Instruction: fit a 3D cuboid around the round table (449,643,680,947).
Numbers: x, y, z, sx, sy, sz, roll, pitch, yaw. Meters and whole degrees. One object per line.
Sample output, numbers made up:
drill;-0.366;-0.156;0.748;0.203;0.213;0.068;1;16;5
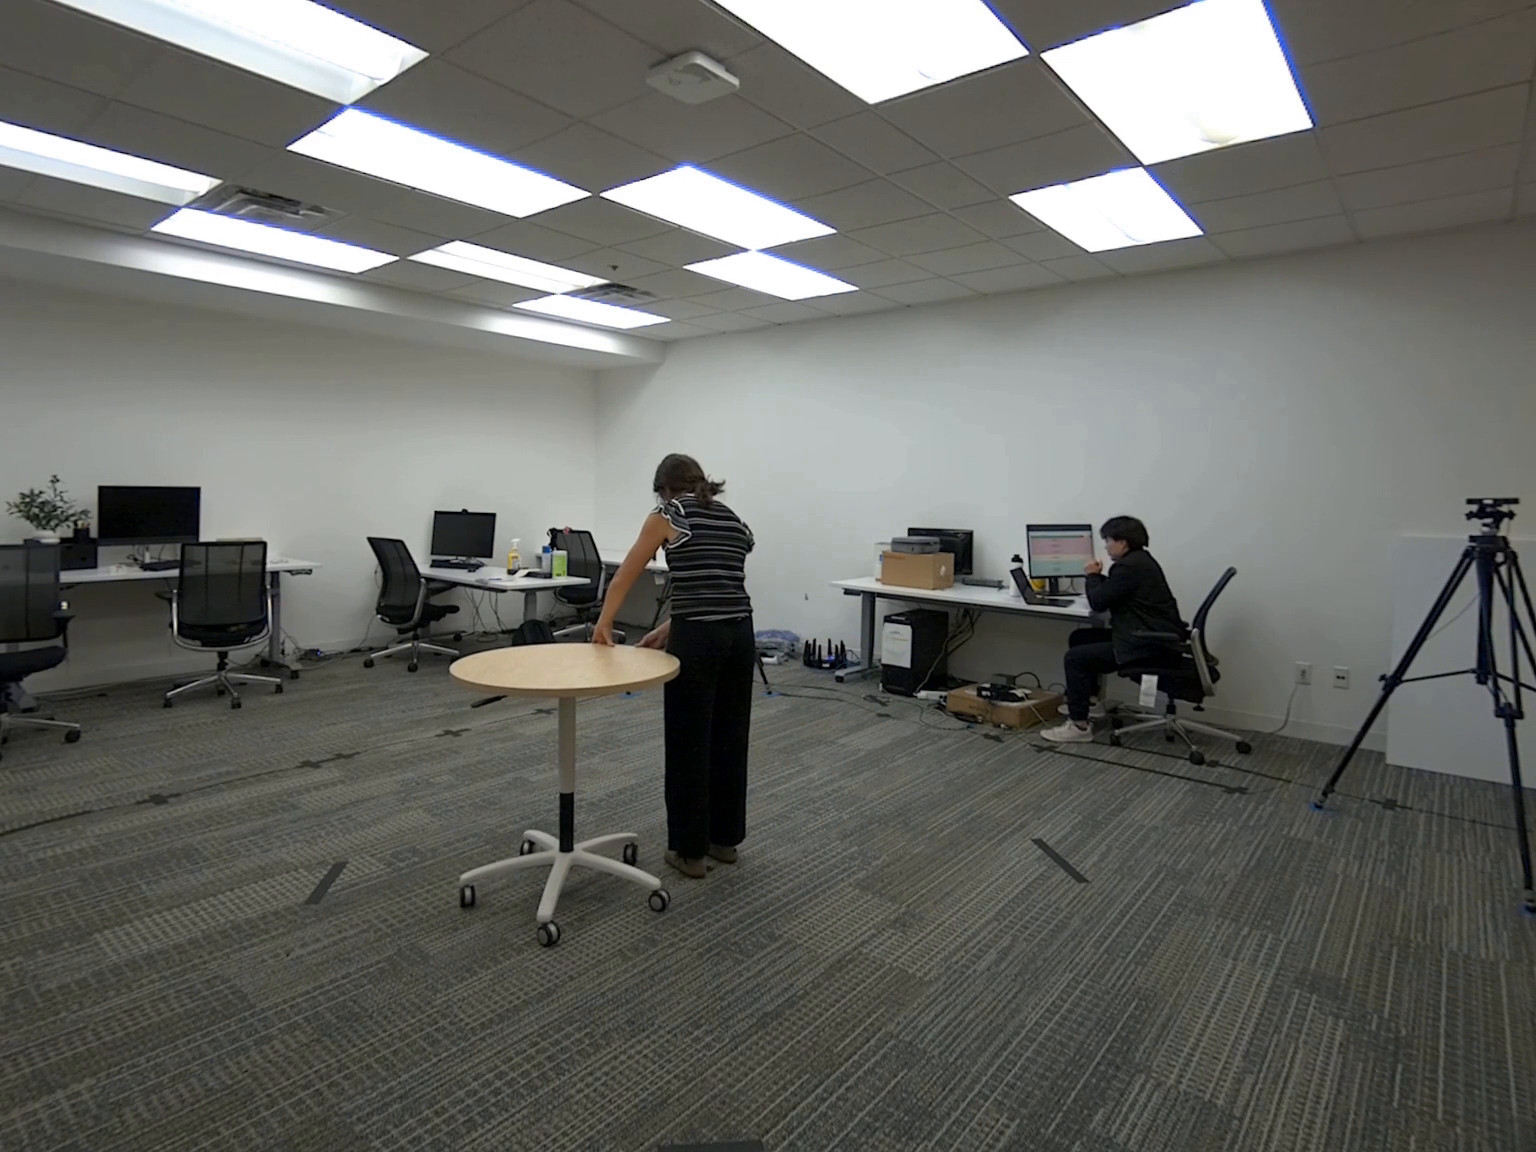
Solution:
round table;-0.681;0.682;2.908;0.784;0.784;0.789;0;4;-2
